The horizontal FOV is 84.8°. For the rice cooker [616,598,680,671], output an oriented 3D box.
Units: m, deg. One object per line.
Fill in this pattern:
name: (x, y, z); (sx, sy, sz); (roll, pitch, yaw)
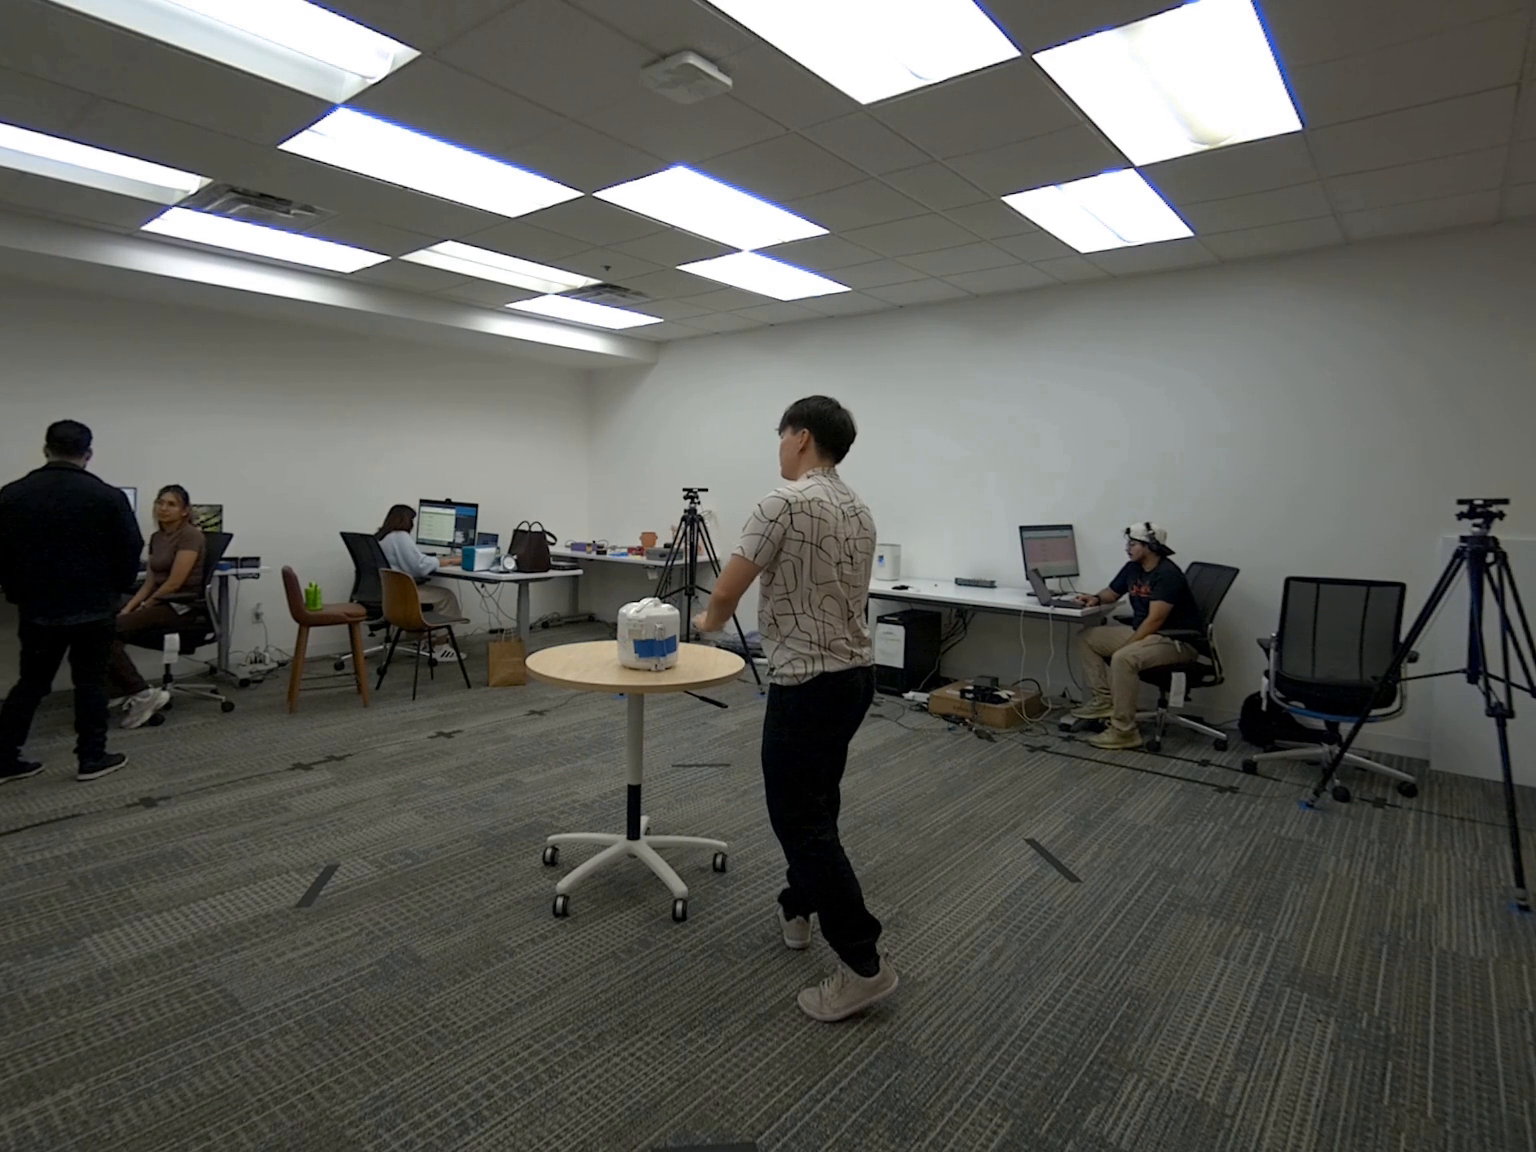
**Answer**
rice cooker: (-0.421, 0.189, 2.904); (0.222, 0.232, 0.217); (4, 5, 19)
